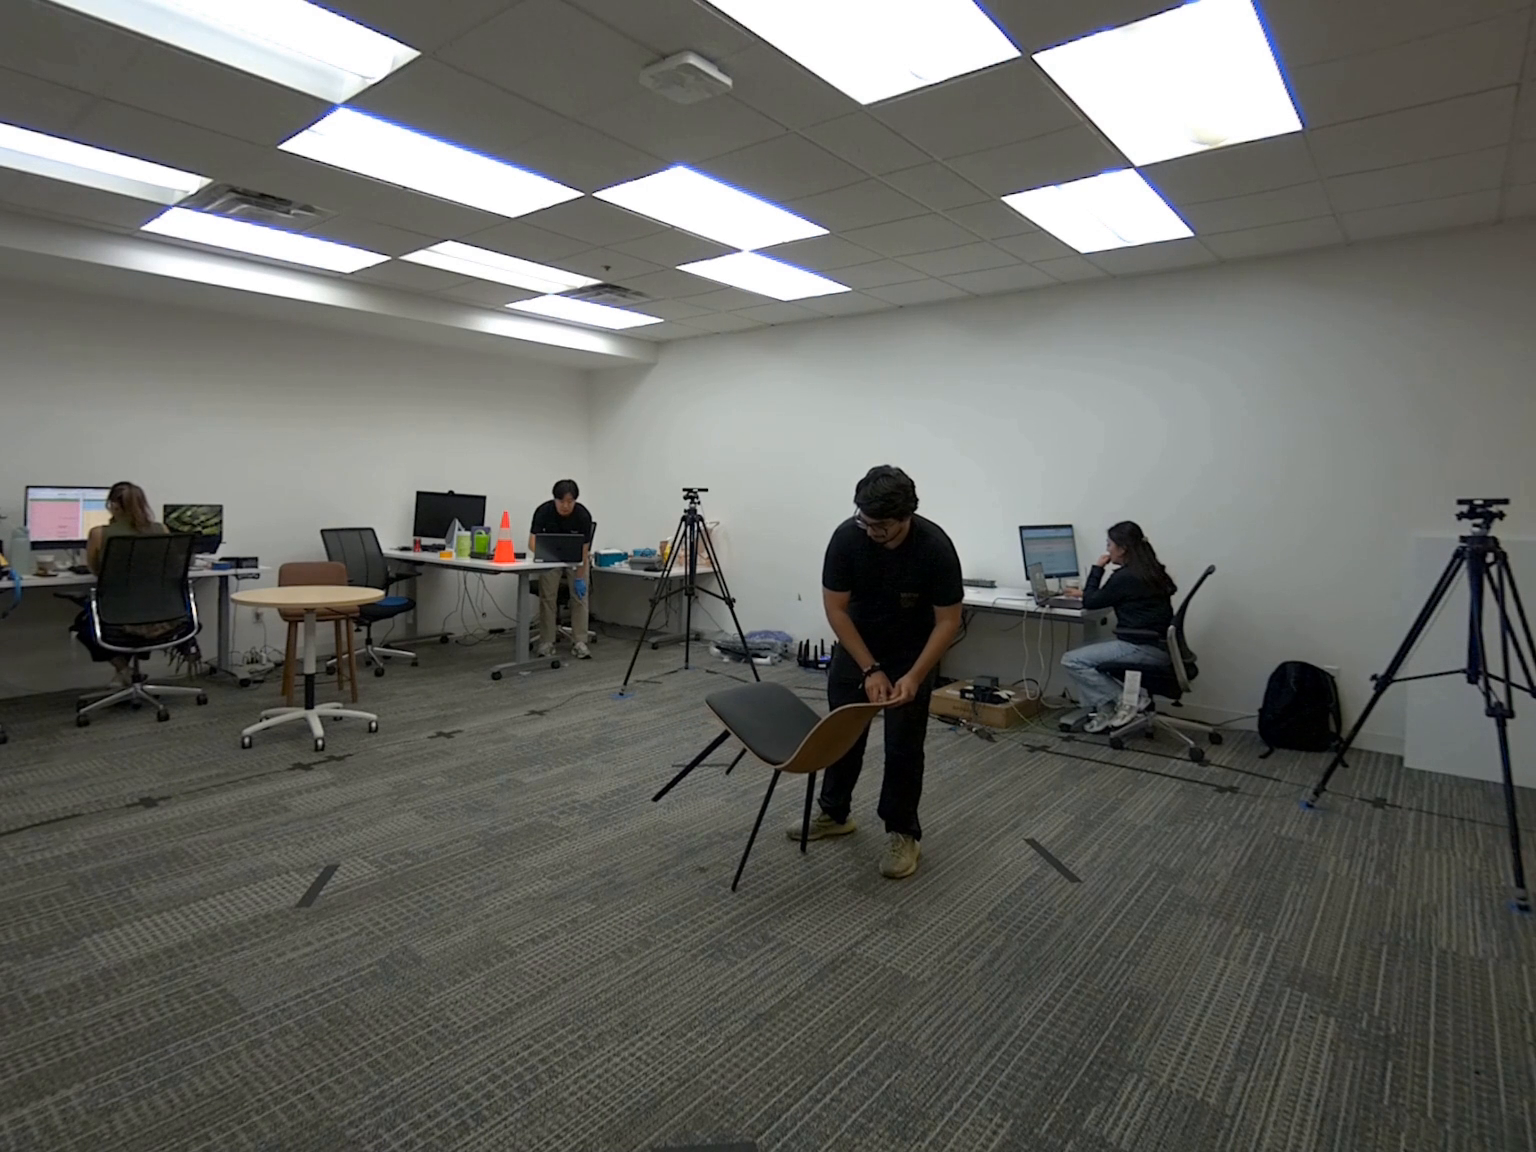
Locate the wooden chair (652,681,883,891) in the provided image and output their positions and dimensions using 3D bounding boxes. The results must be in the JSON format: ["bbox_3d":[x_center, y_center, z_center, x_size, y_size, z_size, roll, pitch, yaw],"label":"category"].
[{"bbox_3d":[0.012,0.595,3.071,0.464,0.871,0.543,-3,40,-51],"label":"wooden chair"}]
